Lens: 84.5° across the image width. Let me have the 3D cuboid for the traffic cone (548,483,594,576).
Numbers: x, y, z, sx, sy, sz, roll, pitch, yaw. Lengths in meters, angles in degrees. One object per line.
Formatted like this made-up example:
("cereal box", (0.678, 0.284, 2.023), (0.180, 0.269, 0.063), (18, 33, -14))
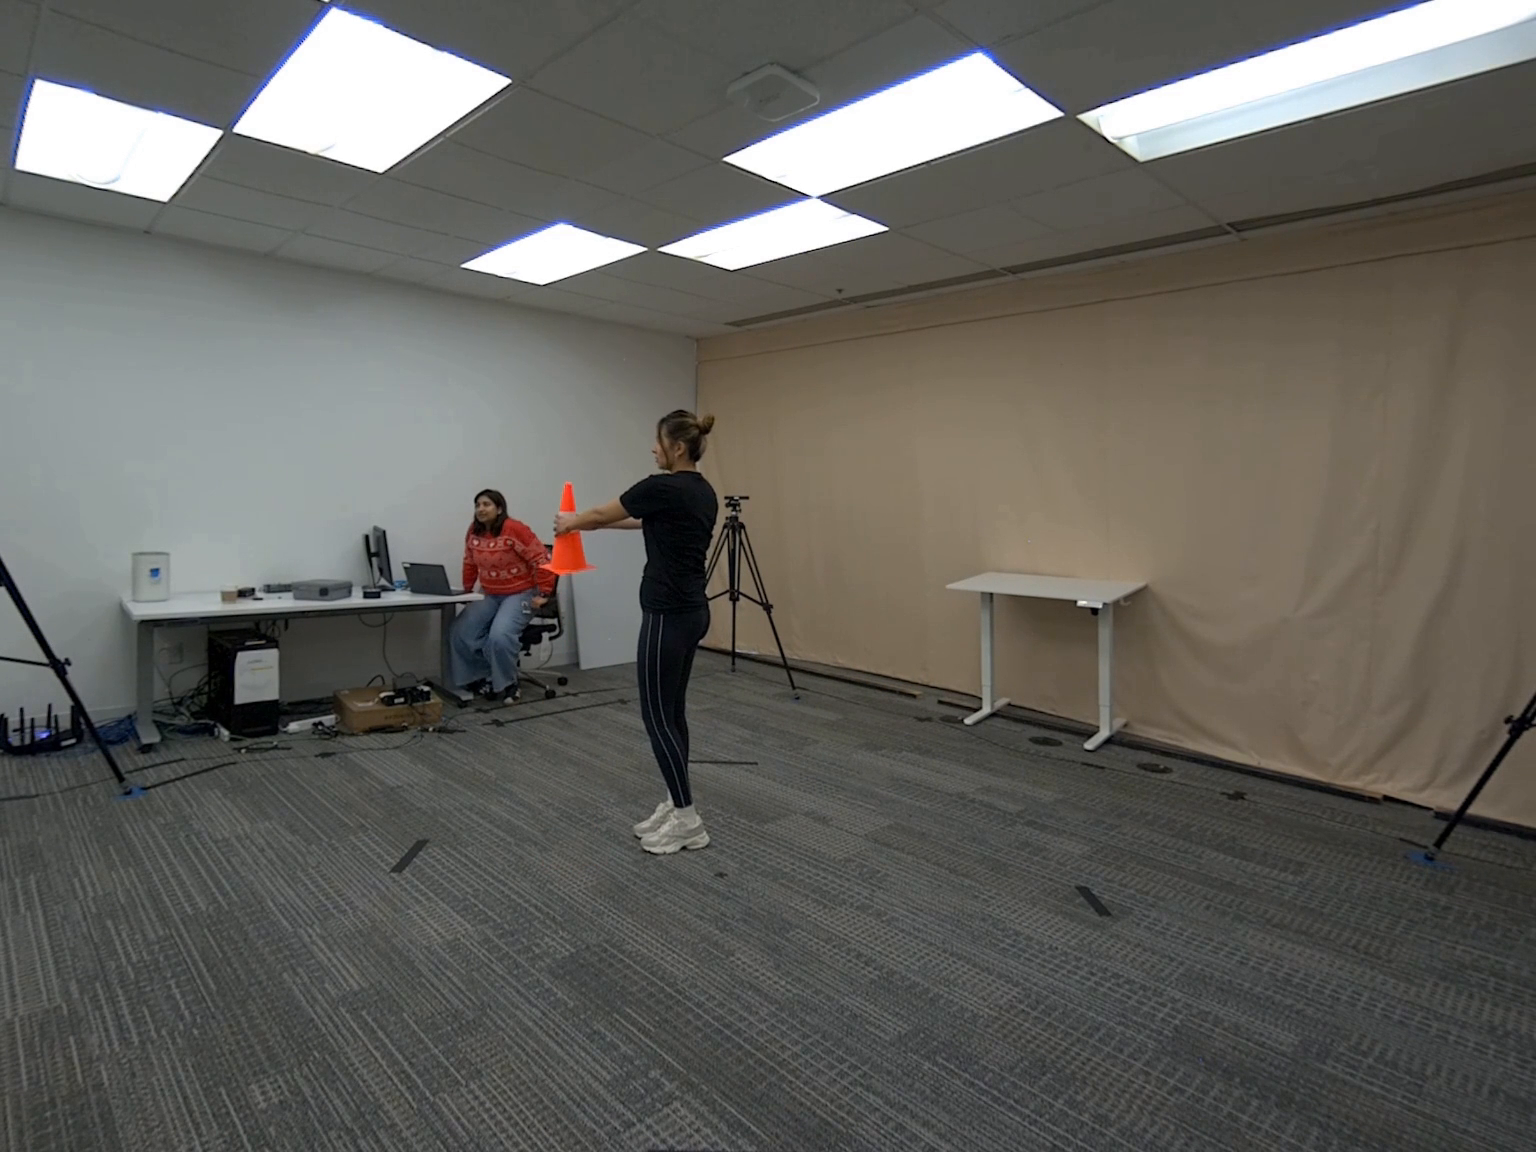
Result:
("traffic cone", (-0.919, -0.223, 3.743), (0.209, 0.381, 0.200), (10, 12, 26))
